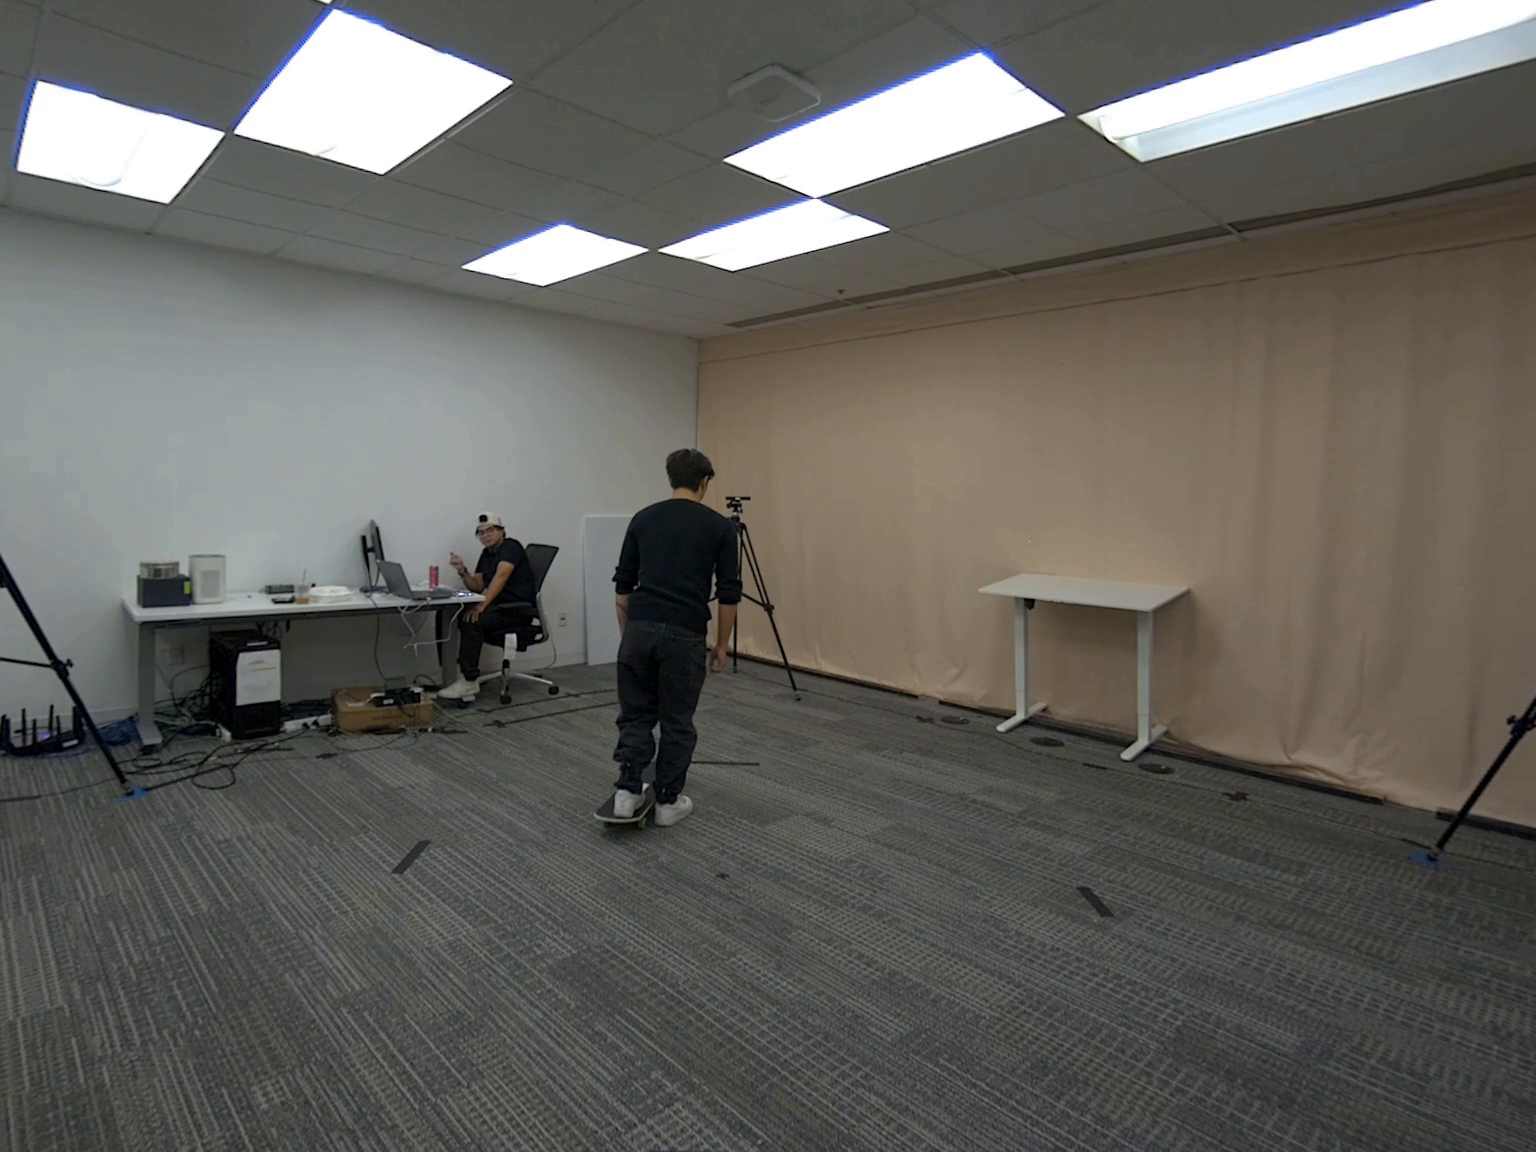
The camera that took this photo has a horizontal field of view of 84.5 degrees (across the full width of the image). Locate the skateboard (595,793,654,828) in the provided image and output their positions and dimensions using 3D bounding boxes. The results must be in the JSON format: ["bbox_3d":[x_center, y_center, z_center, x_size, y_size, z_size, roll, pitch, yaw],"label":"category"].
[{"bbox_3d":[-0.585,0.991,3.743,0.195,0.110,0.781,2,5,8],"label":"skateboard"}]
